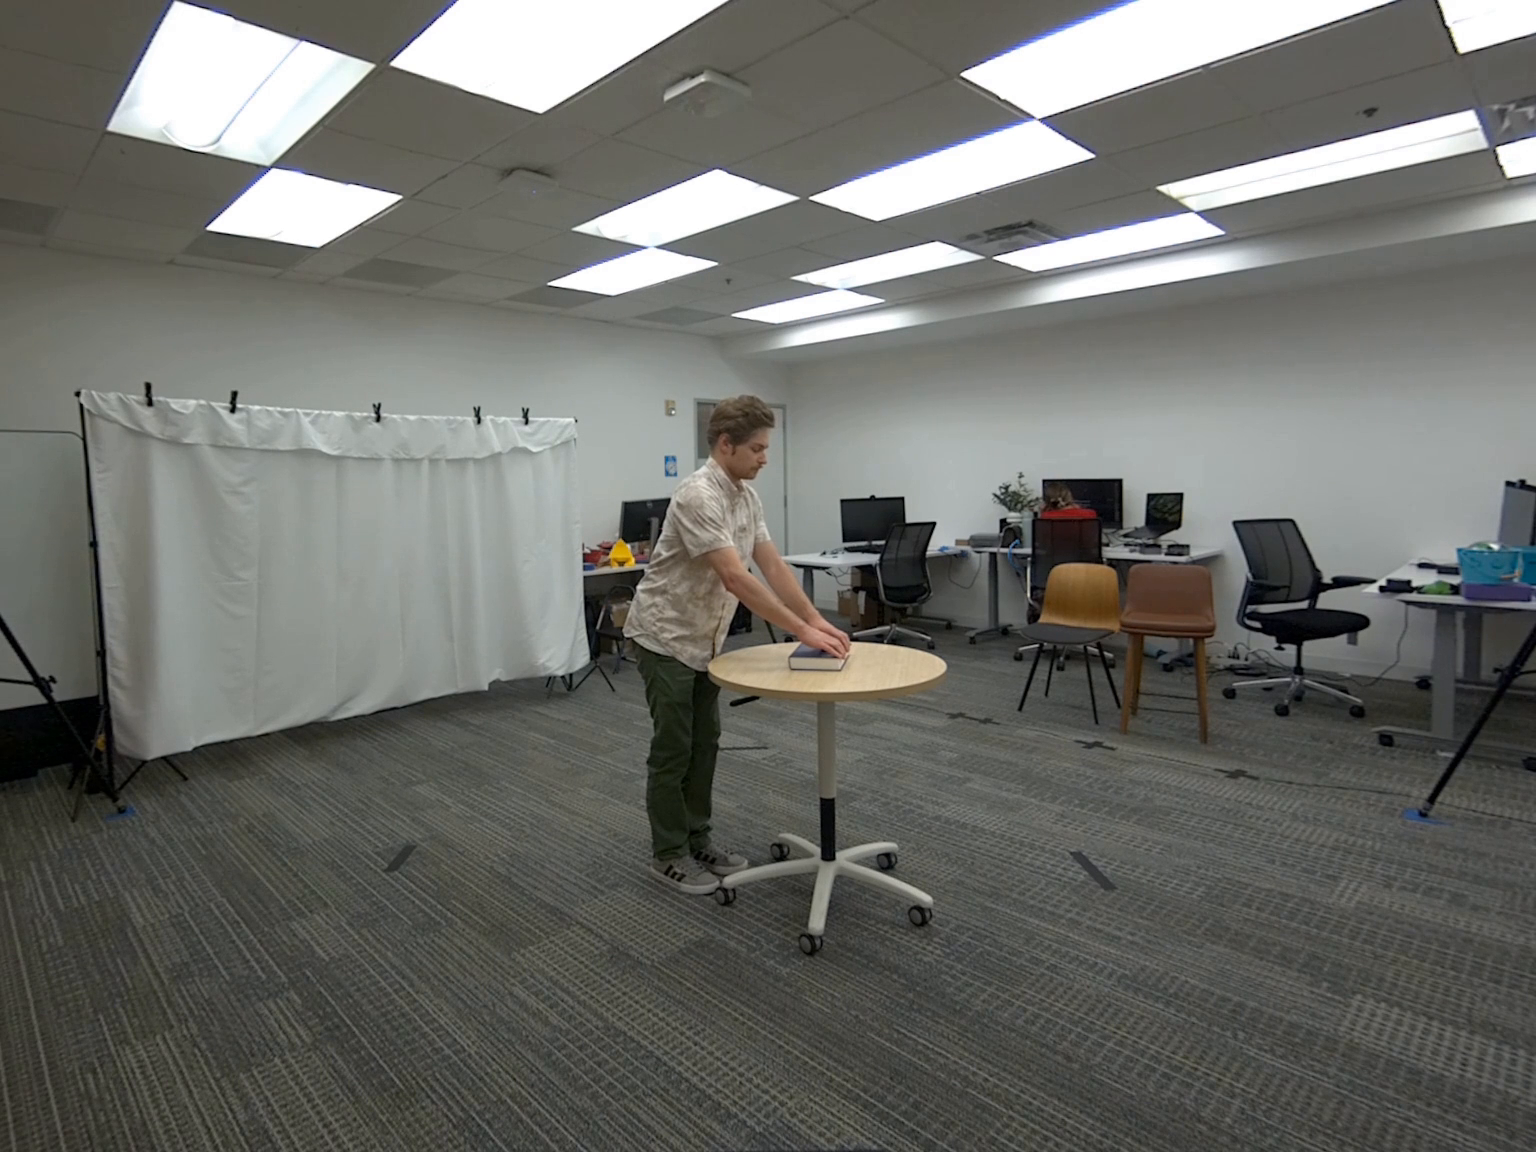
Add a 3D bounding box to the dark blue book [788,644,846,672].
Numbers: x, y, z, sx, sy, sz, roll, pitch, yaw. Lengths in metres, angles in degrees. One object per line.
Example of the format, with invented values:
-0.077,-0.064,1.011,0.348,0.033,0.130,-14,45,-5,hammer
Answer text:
0.176,0.261,2.784,0.165,0.045,0.243,0,6,12,dark blue book
